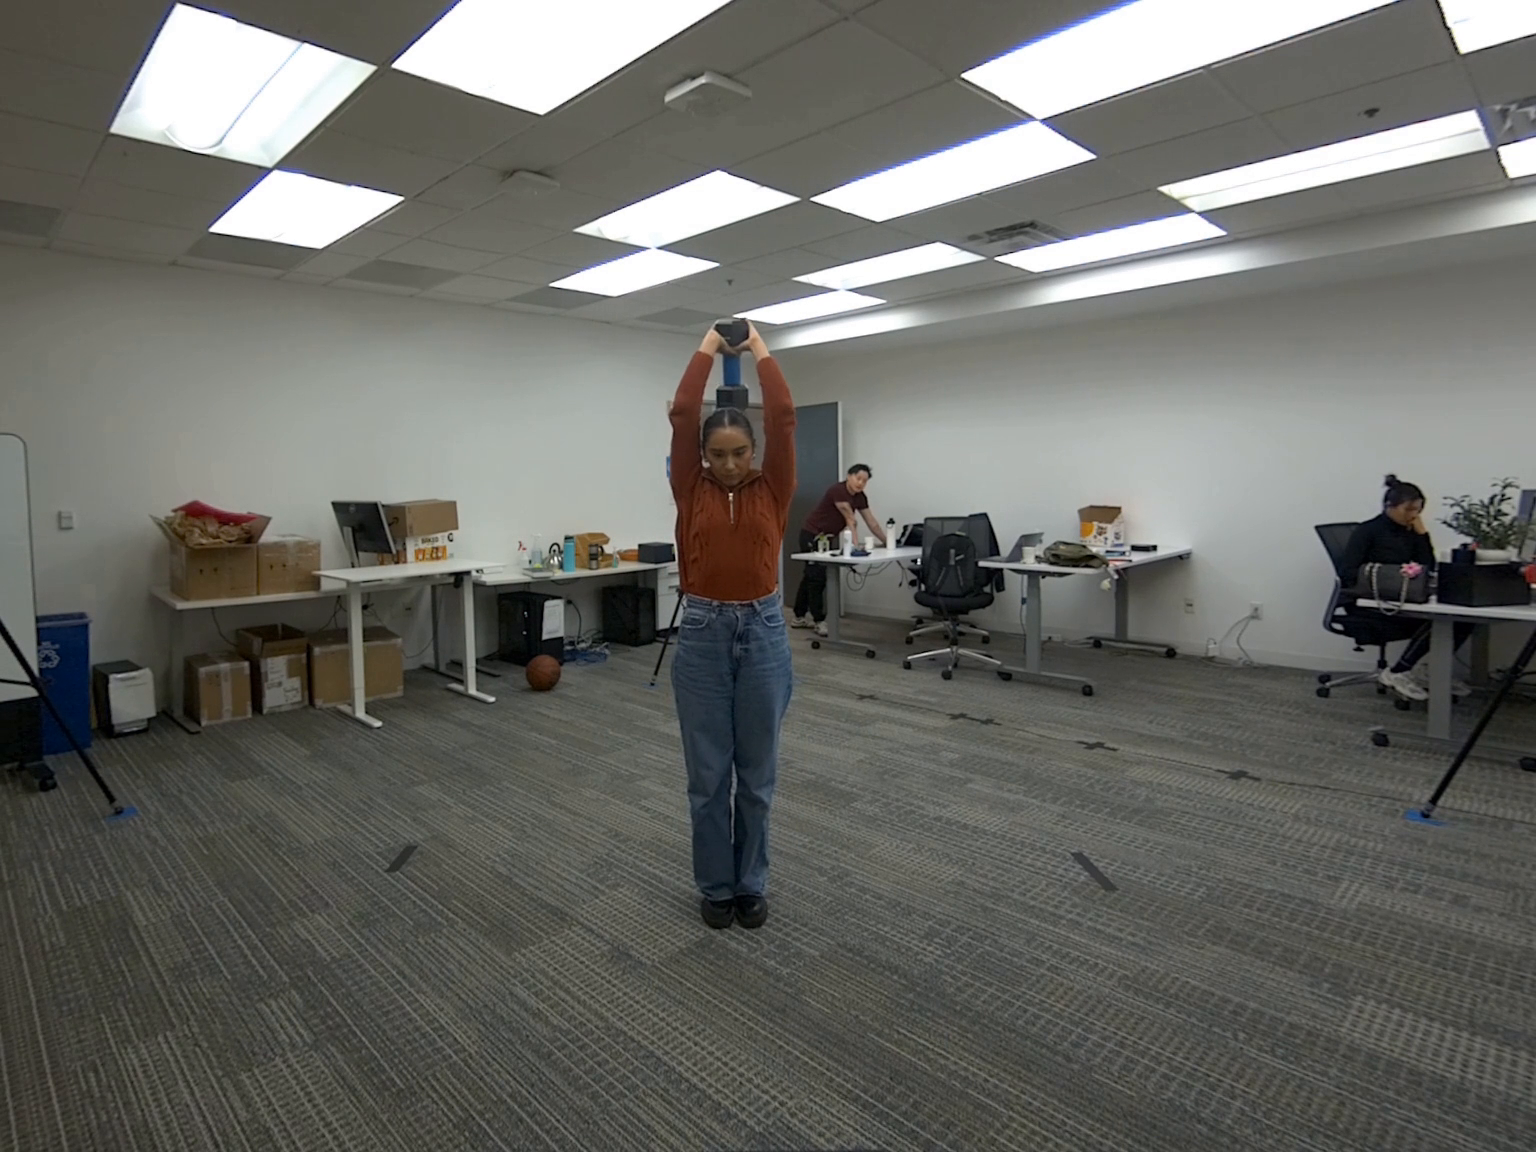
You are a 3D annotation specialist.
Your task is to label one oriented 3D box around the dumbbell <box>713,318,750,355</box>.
[{"bbox_3d":[-0.119,-0.700,2.838,0.108,0.289,0.126,-3,18,-8],"label":"dumbbell"}]
